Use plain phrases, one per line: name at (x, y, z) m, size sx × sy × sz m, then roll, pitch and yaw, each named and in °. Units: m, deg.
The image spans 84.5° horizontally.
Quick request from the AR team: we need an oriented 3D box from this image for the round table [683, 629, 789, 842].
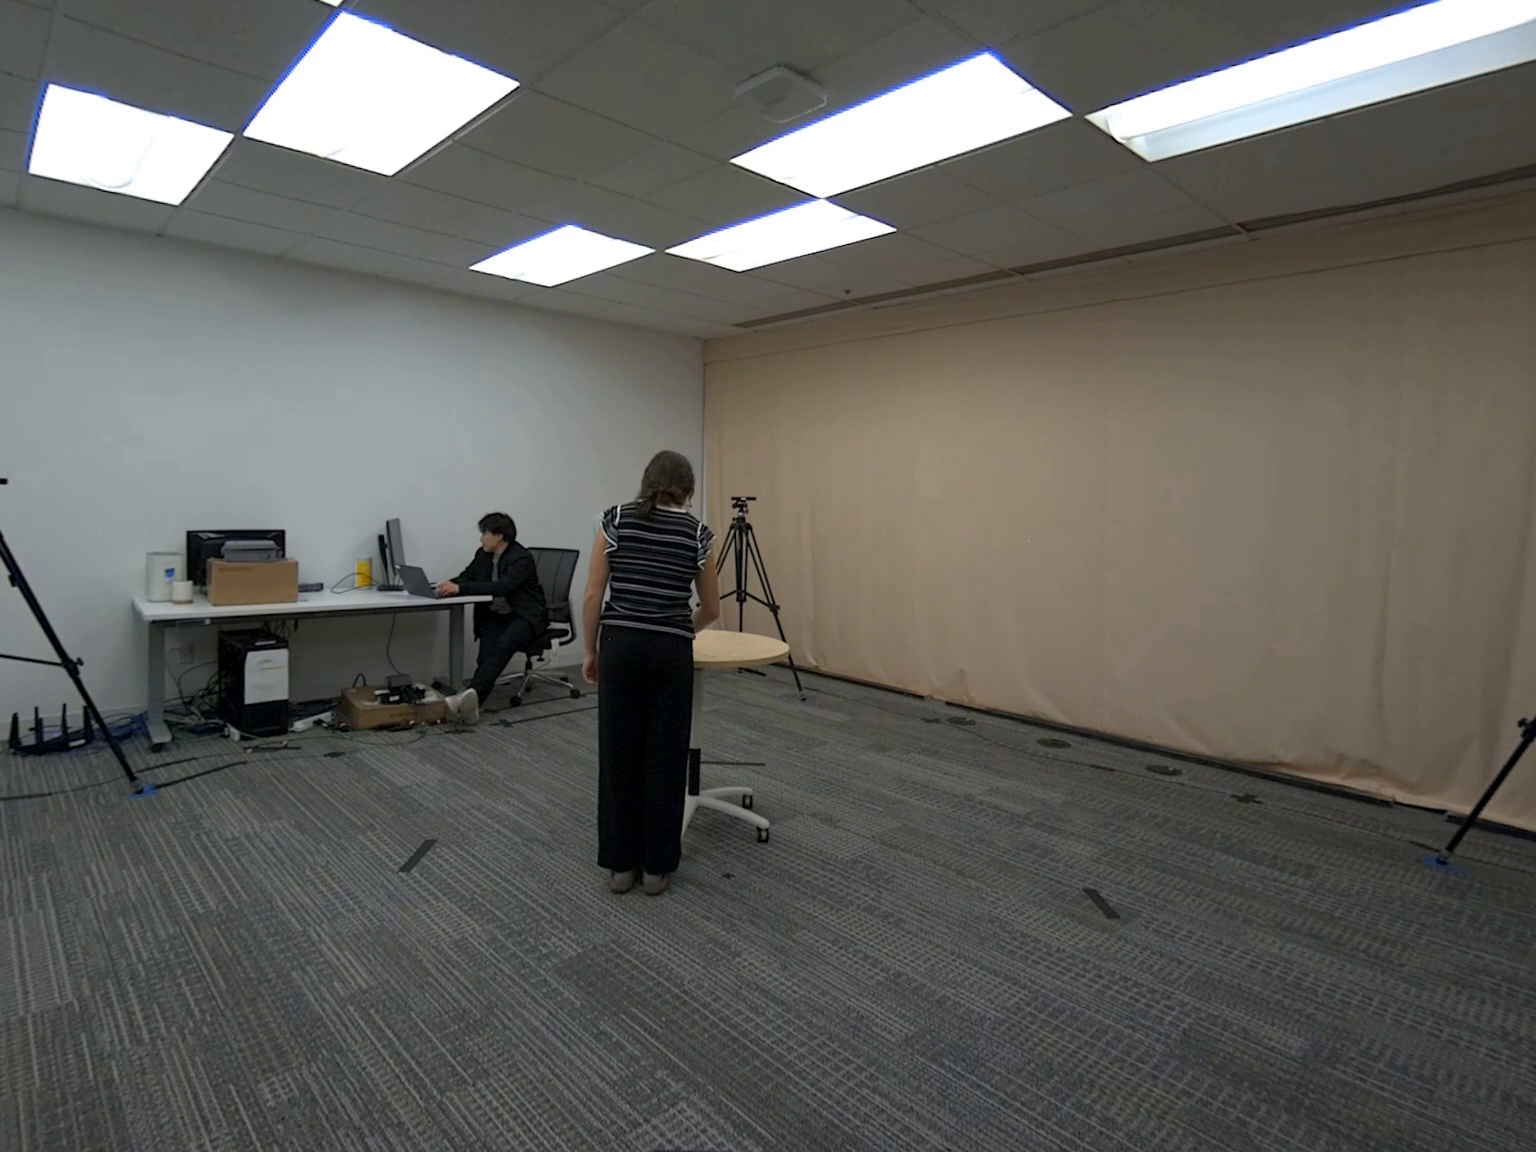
round table at (-0.313, 0.678, 3.551) m, size 0.763 × 0.792 × 0.766 m, roll 2°, pitch 4°, yaw -1°
